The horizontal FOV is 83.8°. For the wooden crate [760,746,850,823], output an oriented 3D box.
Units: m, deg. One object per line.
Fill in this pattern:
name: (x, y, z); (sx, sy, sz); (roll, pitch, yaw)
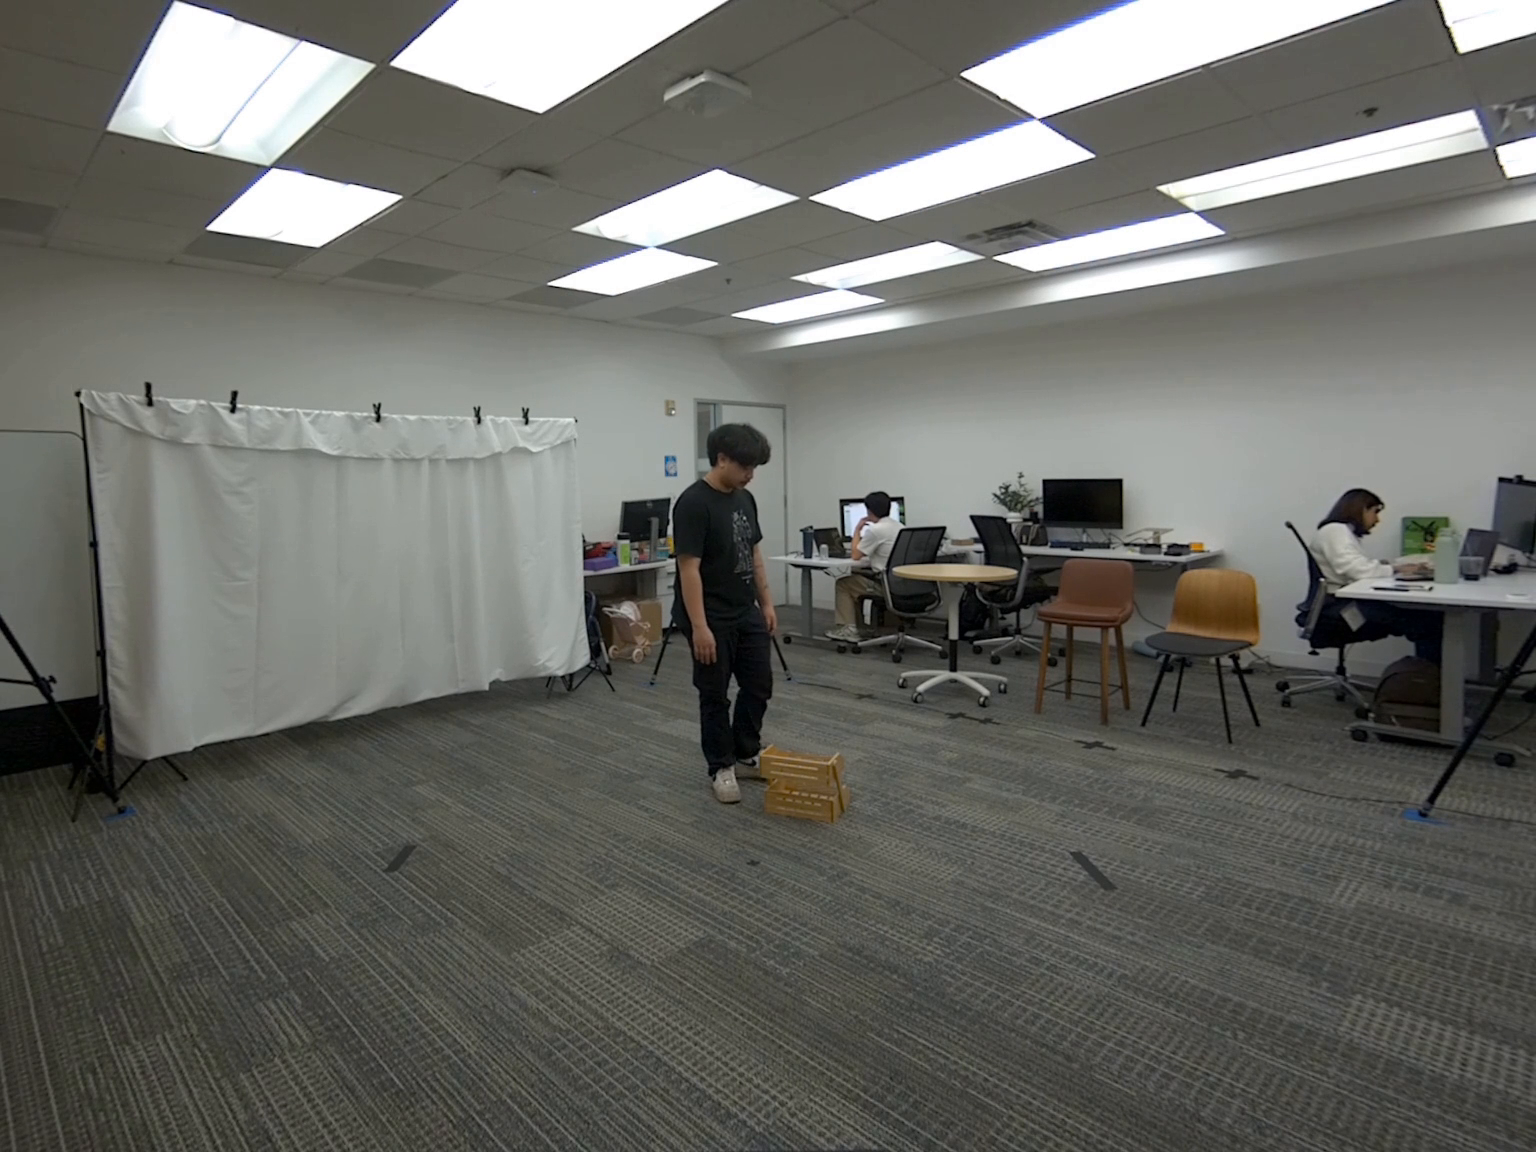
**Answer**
wooden crate: (0.163, 0.853, 3.600); (0.331, 0.272, 0.297); (1, 6, 23)
